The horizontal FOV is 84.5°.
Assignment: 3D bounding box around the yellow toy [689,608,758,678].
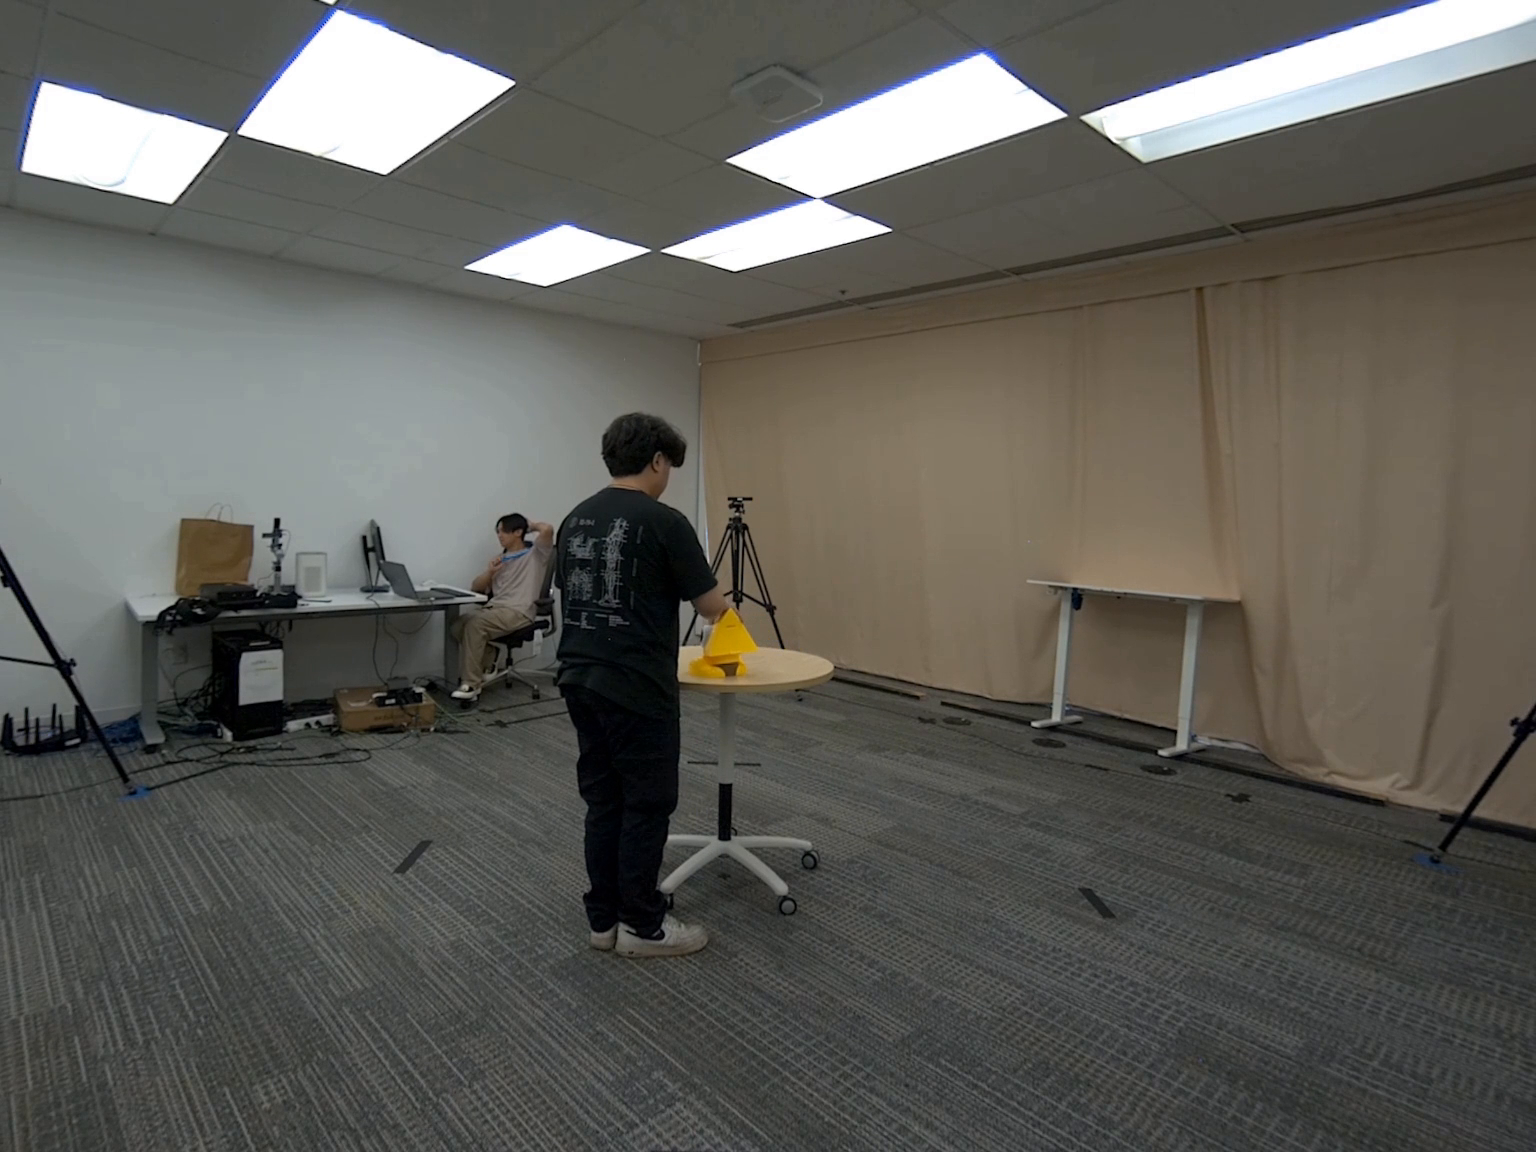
[{"bbox_3d":[-0.170,0.219,2.873,0.200,0.230,0.198,-2,5,-38],"label":"yellow toy"}]
